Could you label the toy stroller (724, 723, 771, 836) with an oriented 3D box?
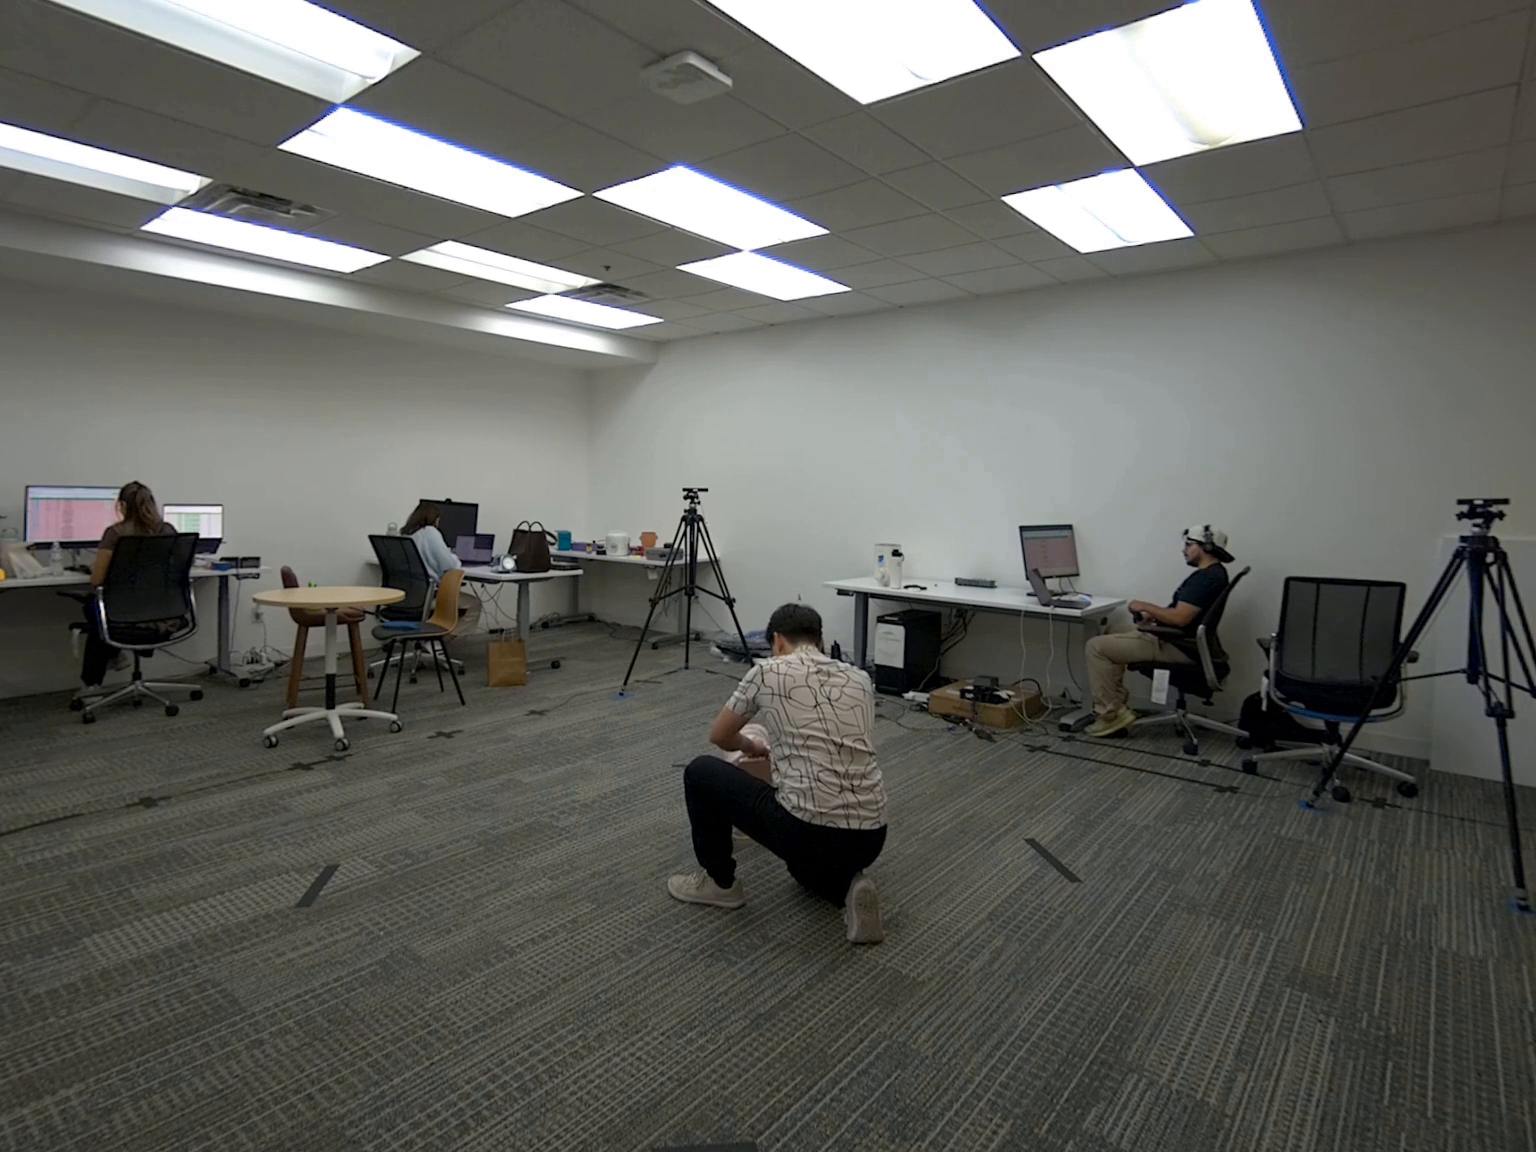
[{"bbox_3d":[-0.095,0.812,3.391,0.276,0.527,0.353,0,20,-20],"label":"toy stroller"}]
